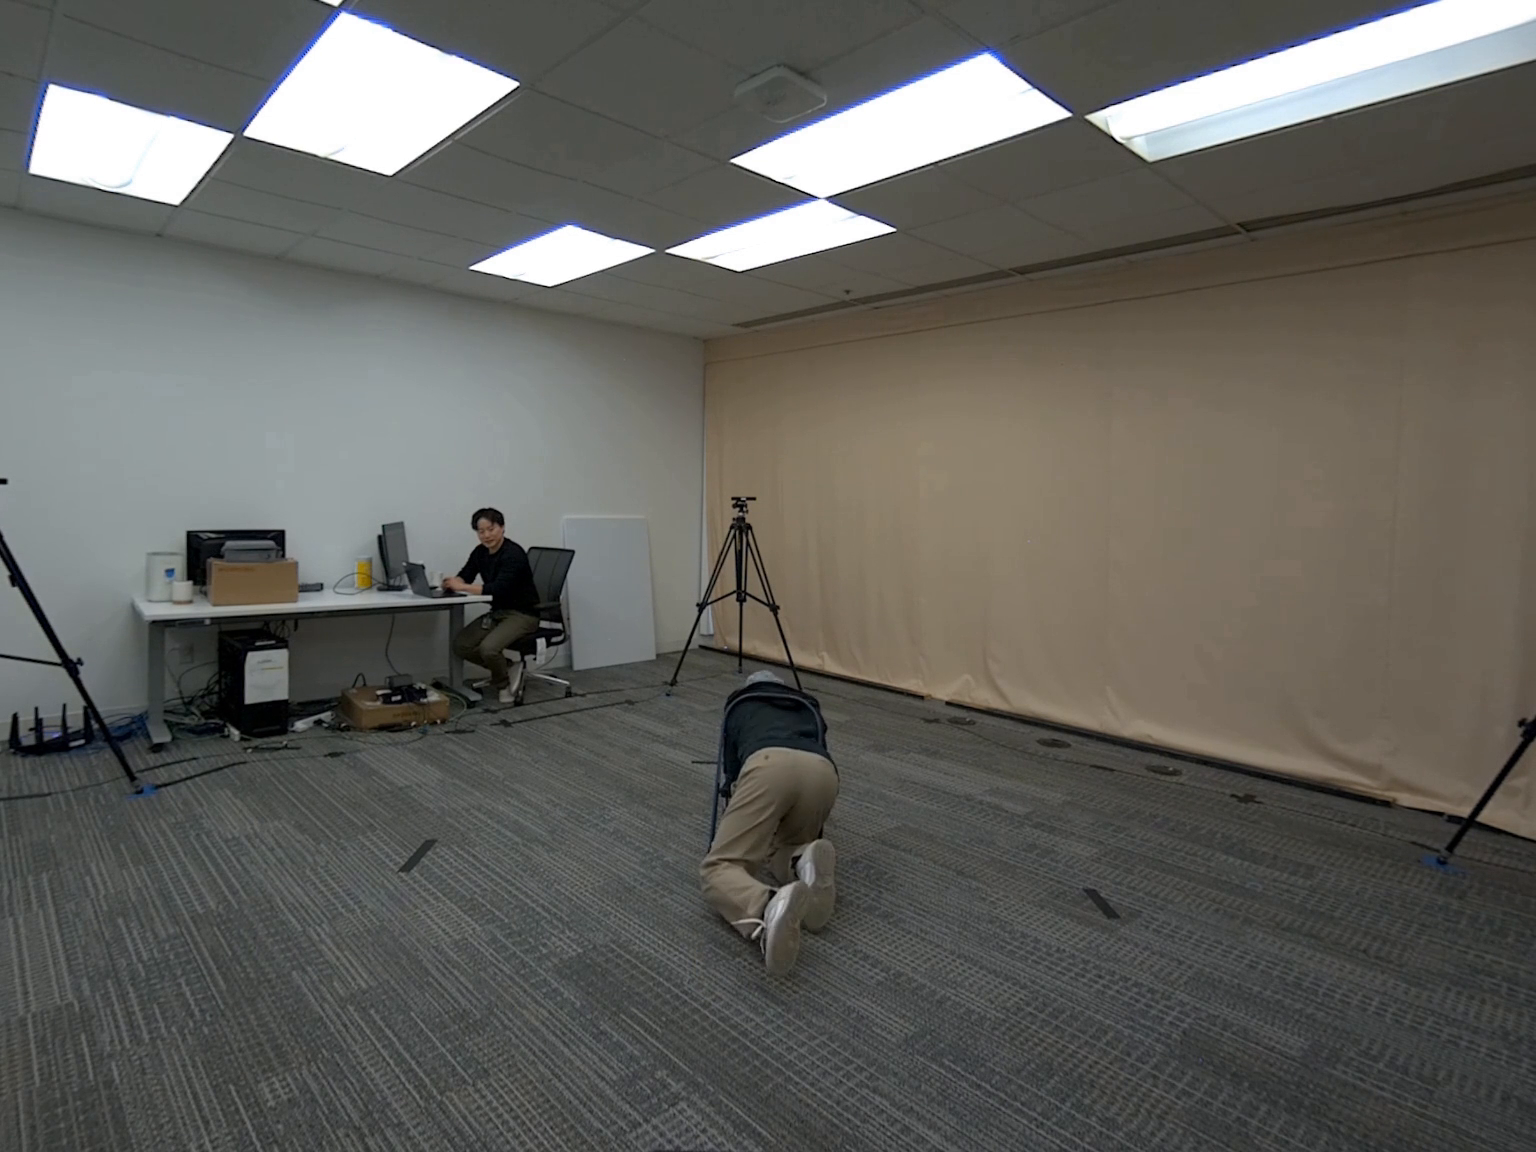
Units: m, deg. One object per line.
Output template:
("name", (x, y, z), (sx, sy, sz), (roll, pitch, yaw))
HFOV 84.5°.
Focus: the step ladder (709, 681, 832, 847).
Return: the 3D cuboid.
("step ladder", (-0.011, 0.784, 3.359), (0.433, 0.604, 0.349), (3, 6, 5))
